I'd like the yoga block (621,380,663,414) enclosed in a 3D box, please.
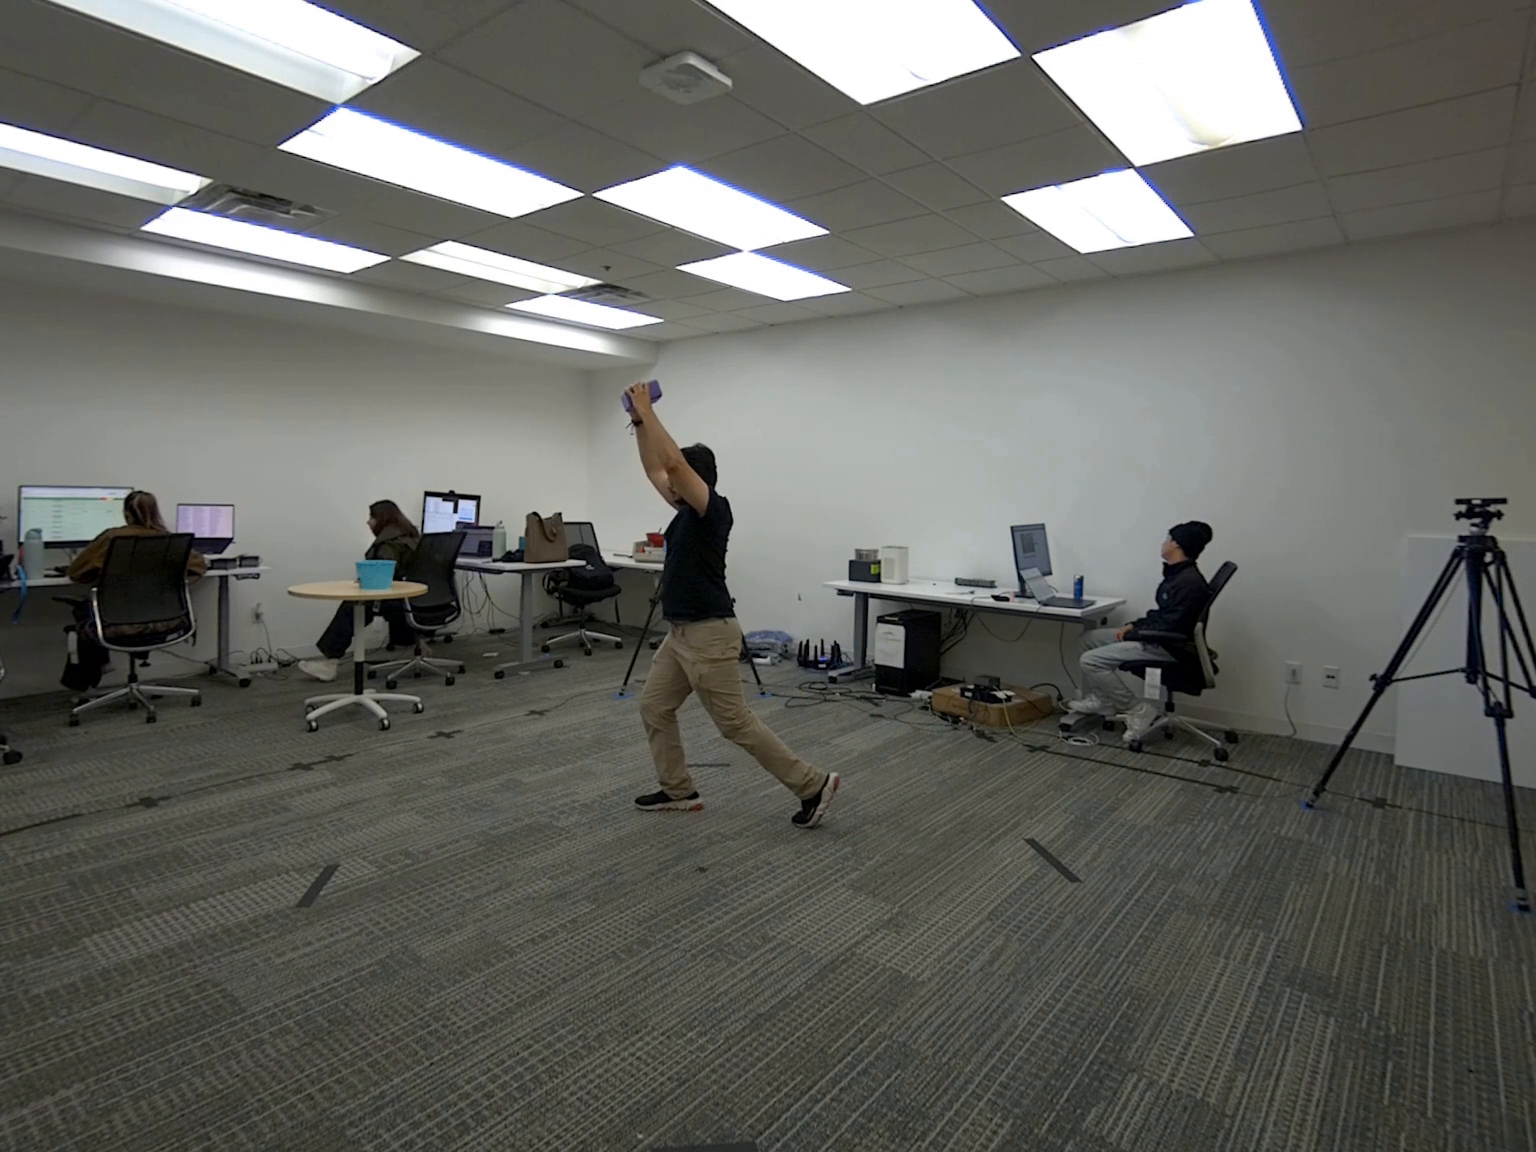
[{"bbox_3d":[-0.543,-0.767,3.610,0.148,0.076,0.232,-22,7,-10],"label":"yoga block"}]
